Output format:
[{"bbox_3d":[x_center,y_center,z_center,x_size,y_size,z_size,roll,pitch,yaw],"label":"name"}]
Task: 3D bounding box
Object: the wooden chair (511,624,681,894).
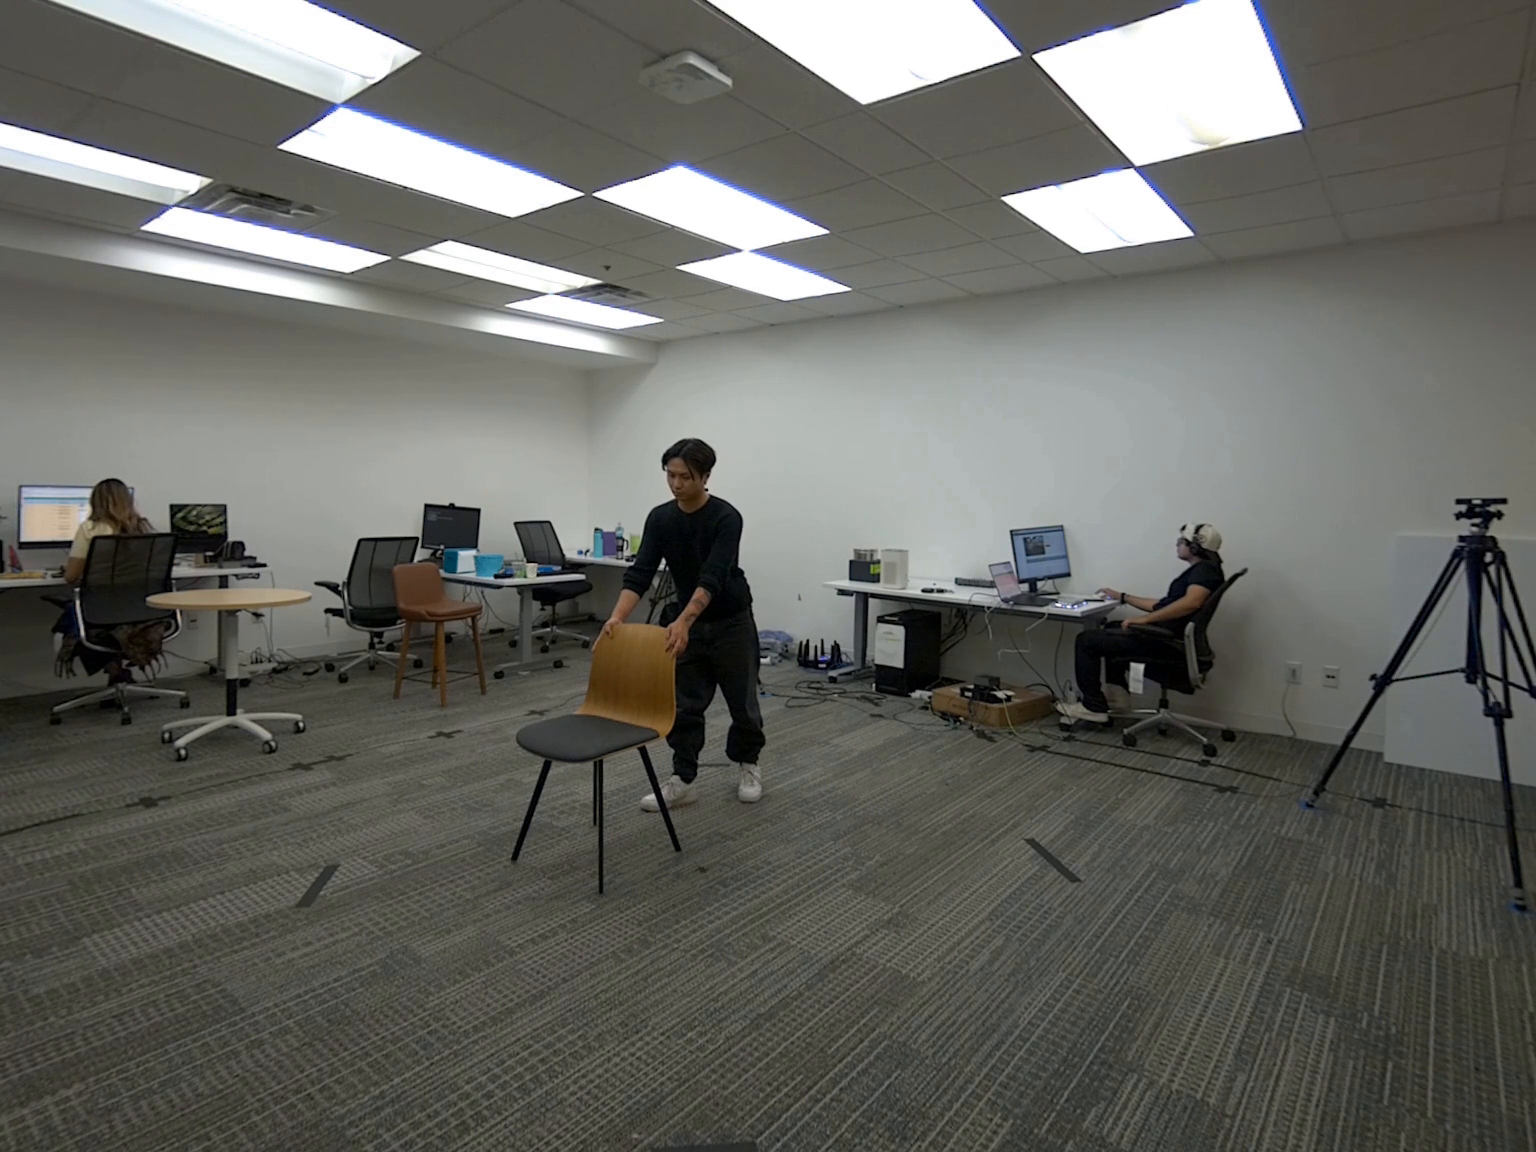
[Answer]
[{"bbox_3d":[-0.644,0.624,3.174,0.493,0.878,0.507,4,-1,33],"label":"wooden chair"}]
